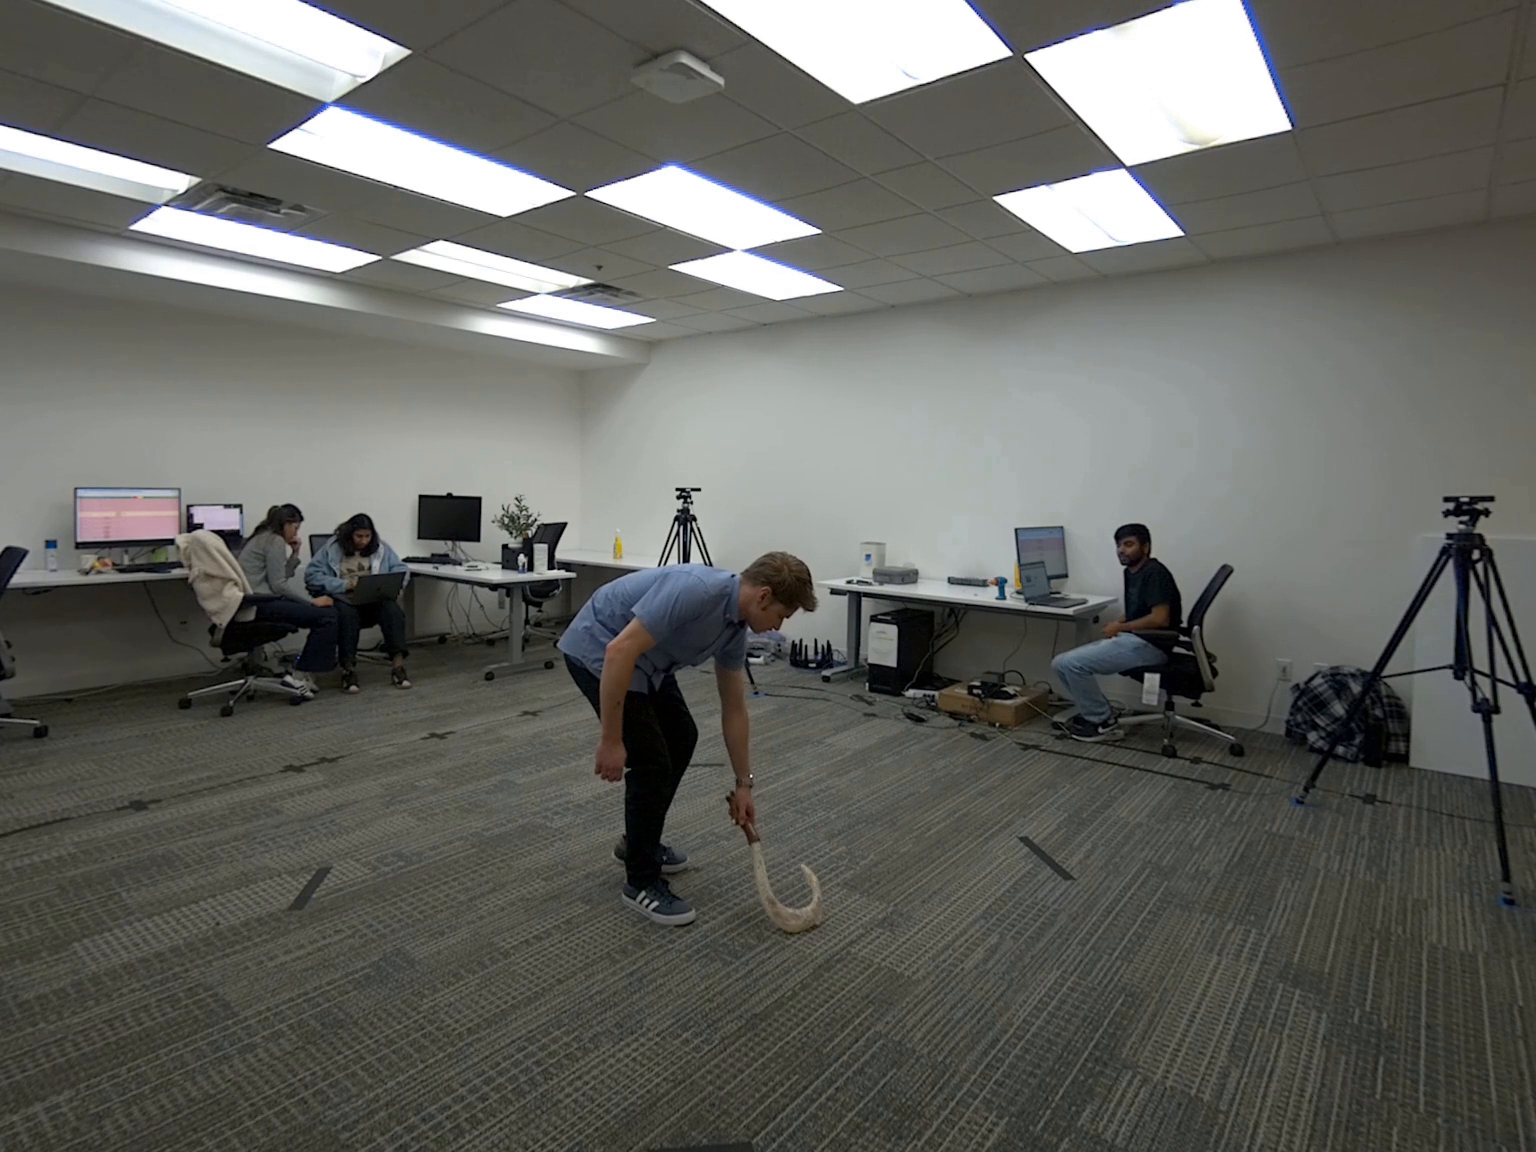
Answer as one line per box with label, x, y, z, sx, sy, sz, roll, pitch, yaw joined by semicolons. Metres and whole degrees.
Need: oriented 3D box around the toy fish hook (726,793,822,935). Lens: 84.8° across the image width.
toy fish hook;0.012;0.933;2.839;0.218;0.048;0.527;-4;47;-33
